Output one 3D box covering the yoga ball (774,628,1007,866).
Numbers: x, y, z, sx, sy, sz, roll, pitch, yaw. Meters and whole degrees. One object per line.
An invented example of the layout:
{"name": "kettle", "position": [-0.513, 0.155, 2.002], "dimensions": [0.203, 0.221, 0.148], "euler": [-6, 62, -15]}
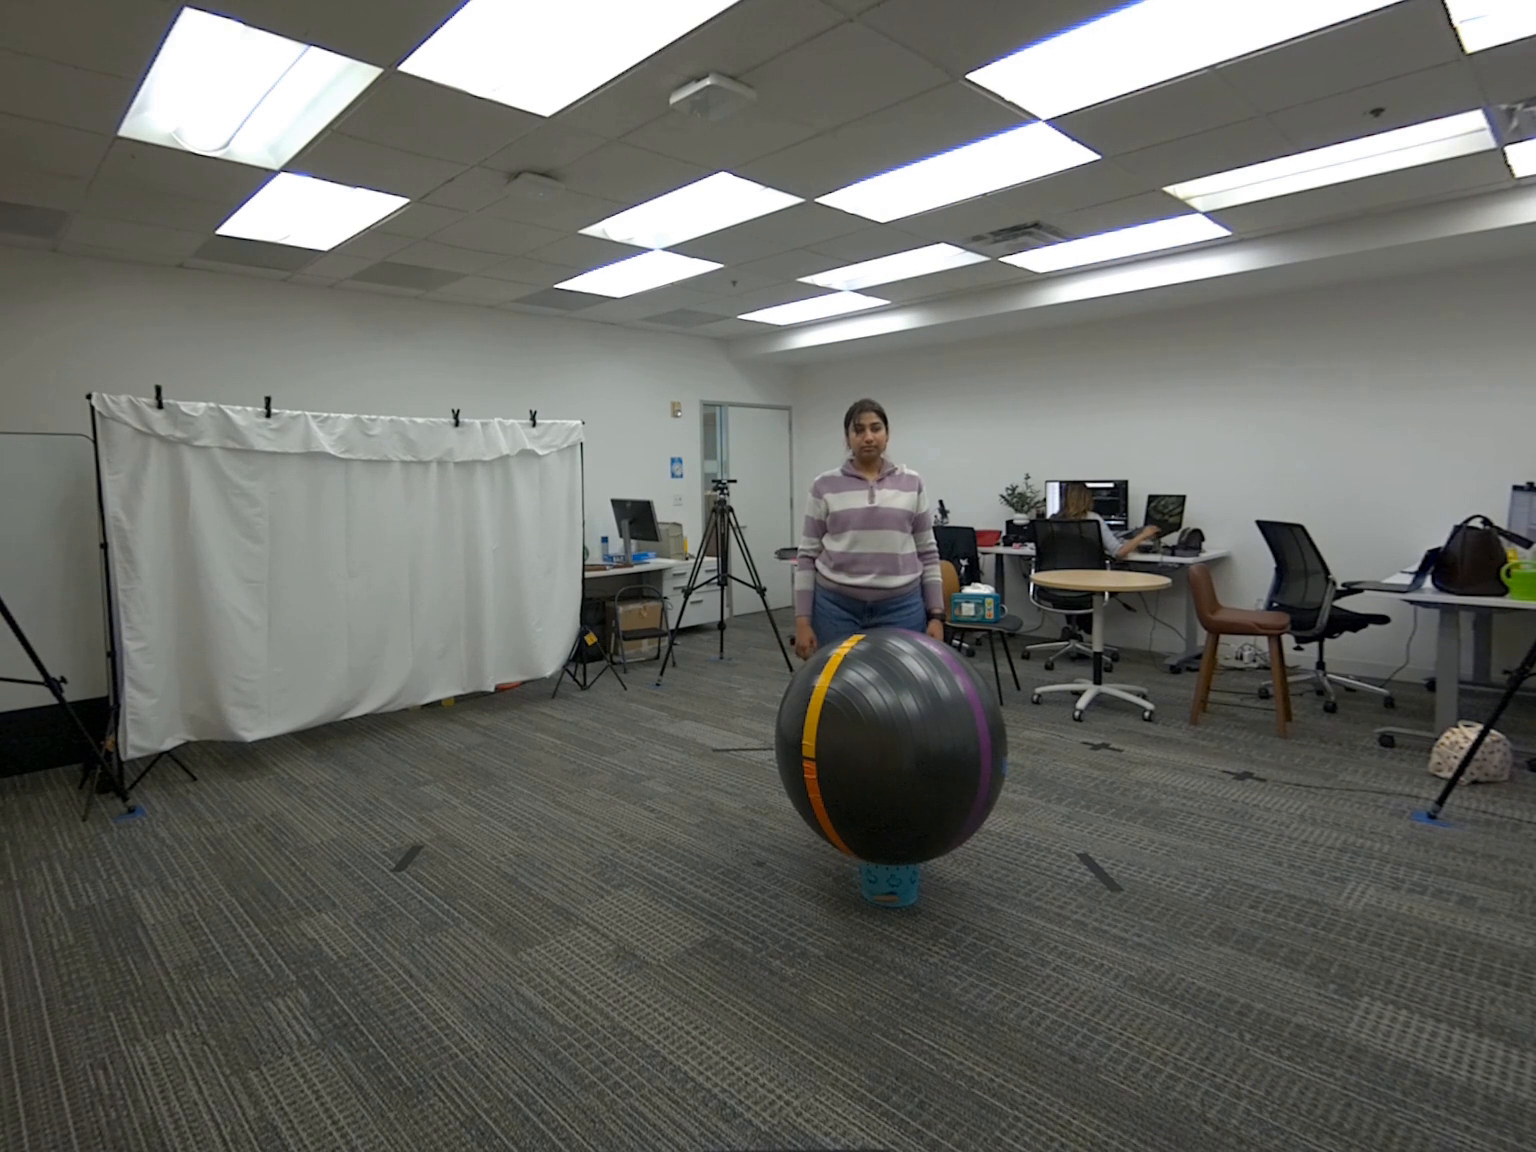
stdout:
{"name": "yoga ball", "position": [0.400, 0.559, 2.835], "dimensions": [0.757, 0.755, 0.762], "euler": [-1, 5, -2]}
